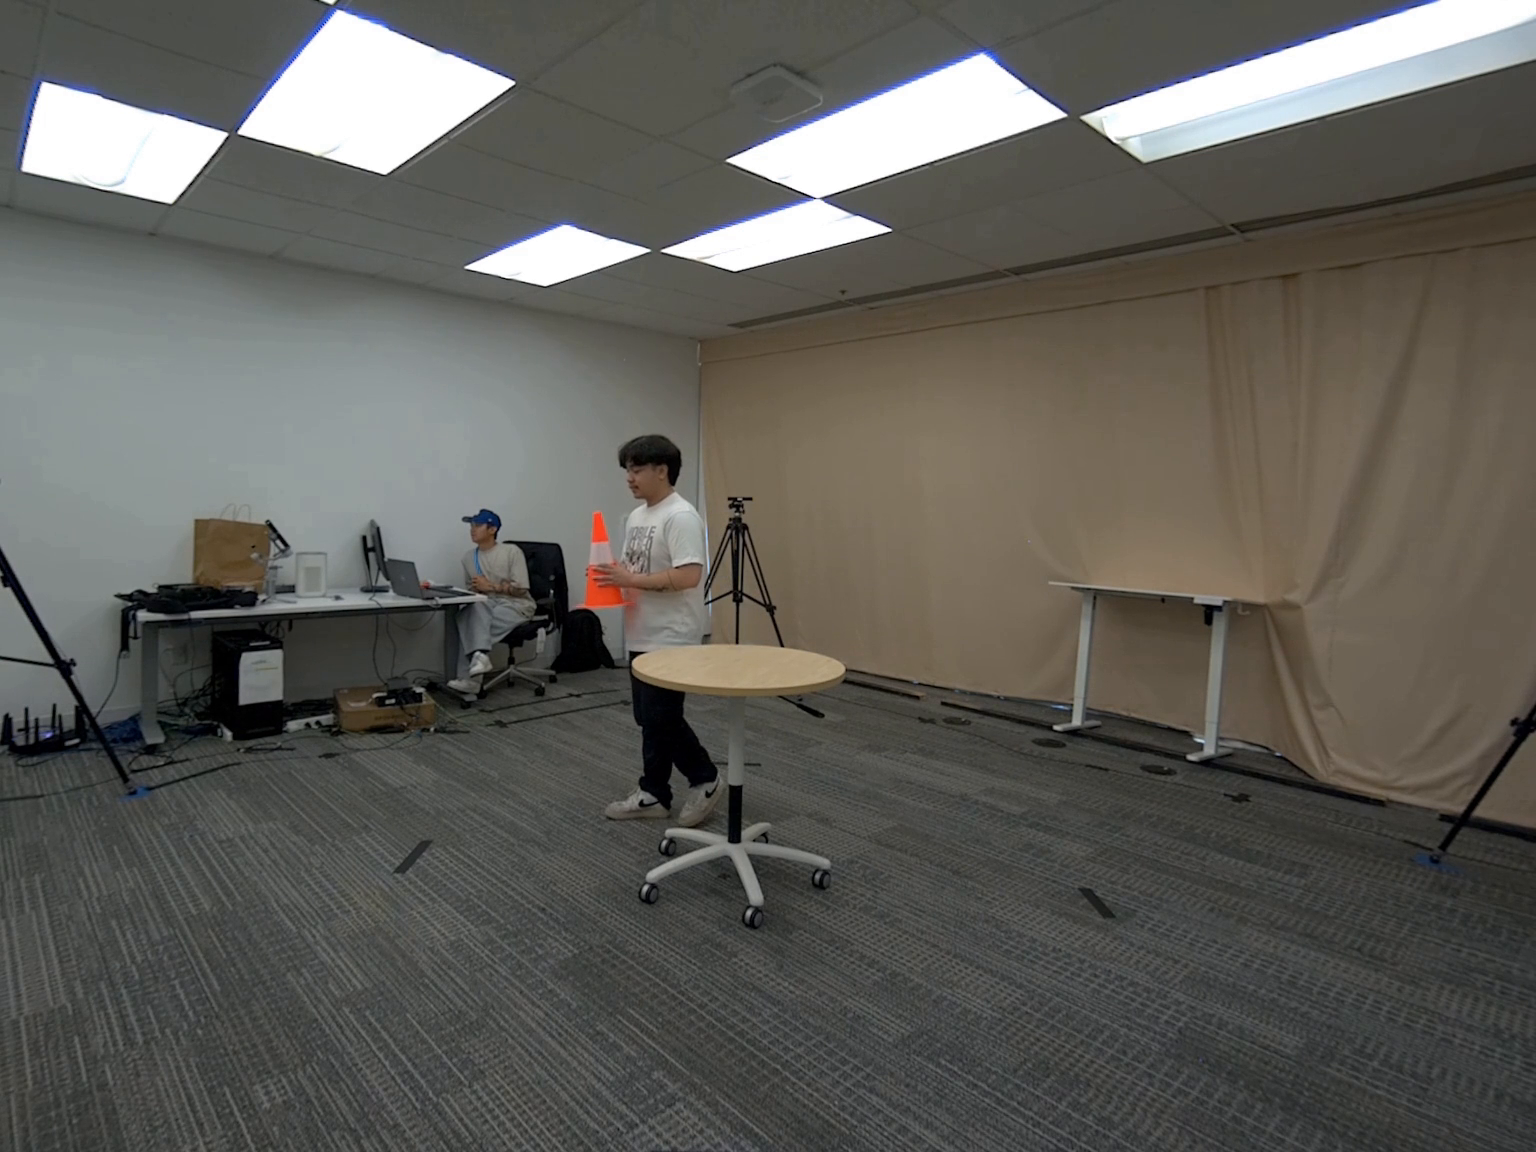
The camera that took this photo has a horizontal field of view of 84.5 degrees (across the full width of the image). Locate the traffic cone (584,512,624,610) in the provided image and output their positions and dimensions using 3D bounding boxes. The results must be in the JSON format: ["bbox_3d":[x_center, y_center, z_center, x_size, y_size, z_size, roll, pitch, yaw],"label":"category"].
[{"bbox_3d":[-0.690,-0.075,3.472,0.210,0.381,0.200,5,13,38],"label":"traffic cone"}]
